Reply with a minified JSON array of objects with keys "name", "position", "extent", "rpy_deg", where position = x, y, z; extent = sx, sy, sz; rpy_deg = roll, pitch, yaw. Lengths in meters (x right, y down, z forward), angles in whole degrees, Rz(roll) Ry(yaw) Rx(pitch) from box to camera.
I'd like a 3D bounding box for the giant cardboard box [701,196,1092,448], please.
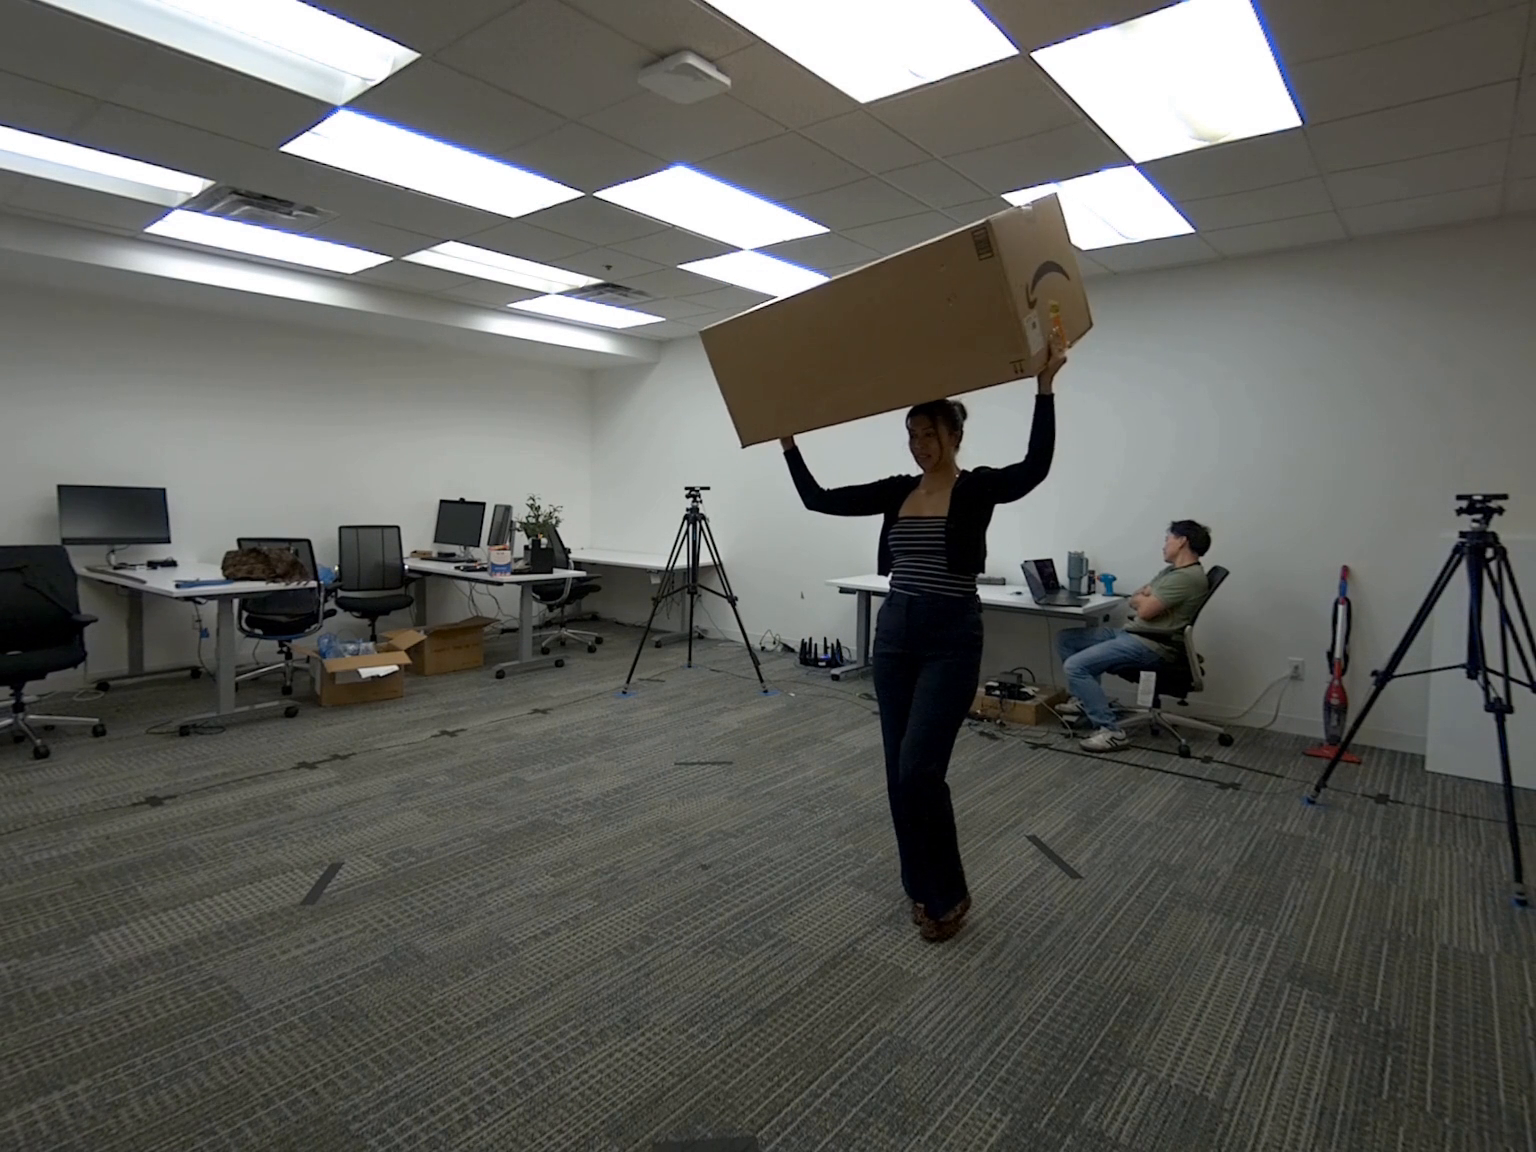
[{"name":"giant cardboard box","position":[0.377,-0.784,2.730],"extent":[1.054,0.418,0.572],"rpy_deg":[-6,21,41]}]
